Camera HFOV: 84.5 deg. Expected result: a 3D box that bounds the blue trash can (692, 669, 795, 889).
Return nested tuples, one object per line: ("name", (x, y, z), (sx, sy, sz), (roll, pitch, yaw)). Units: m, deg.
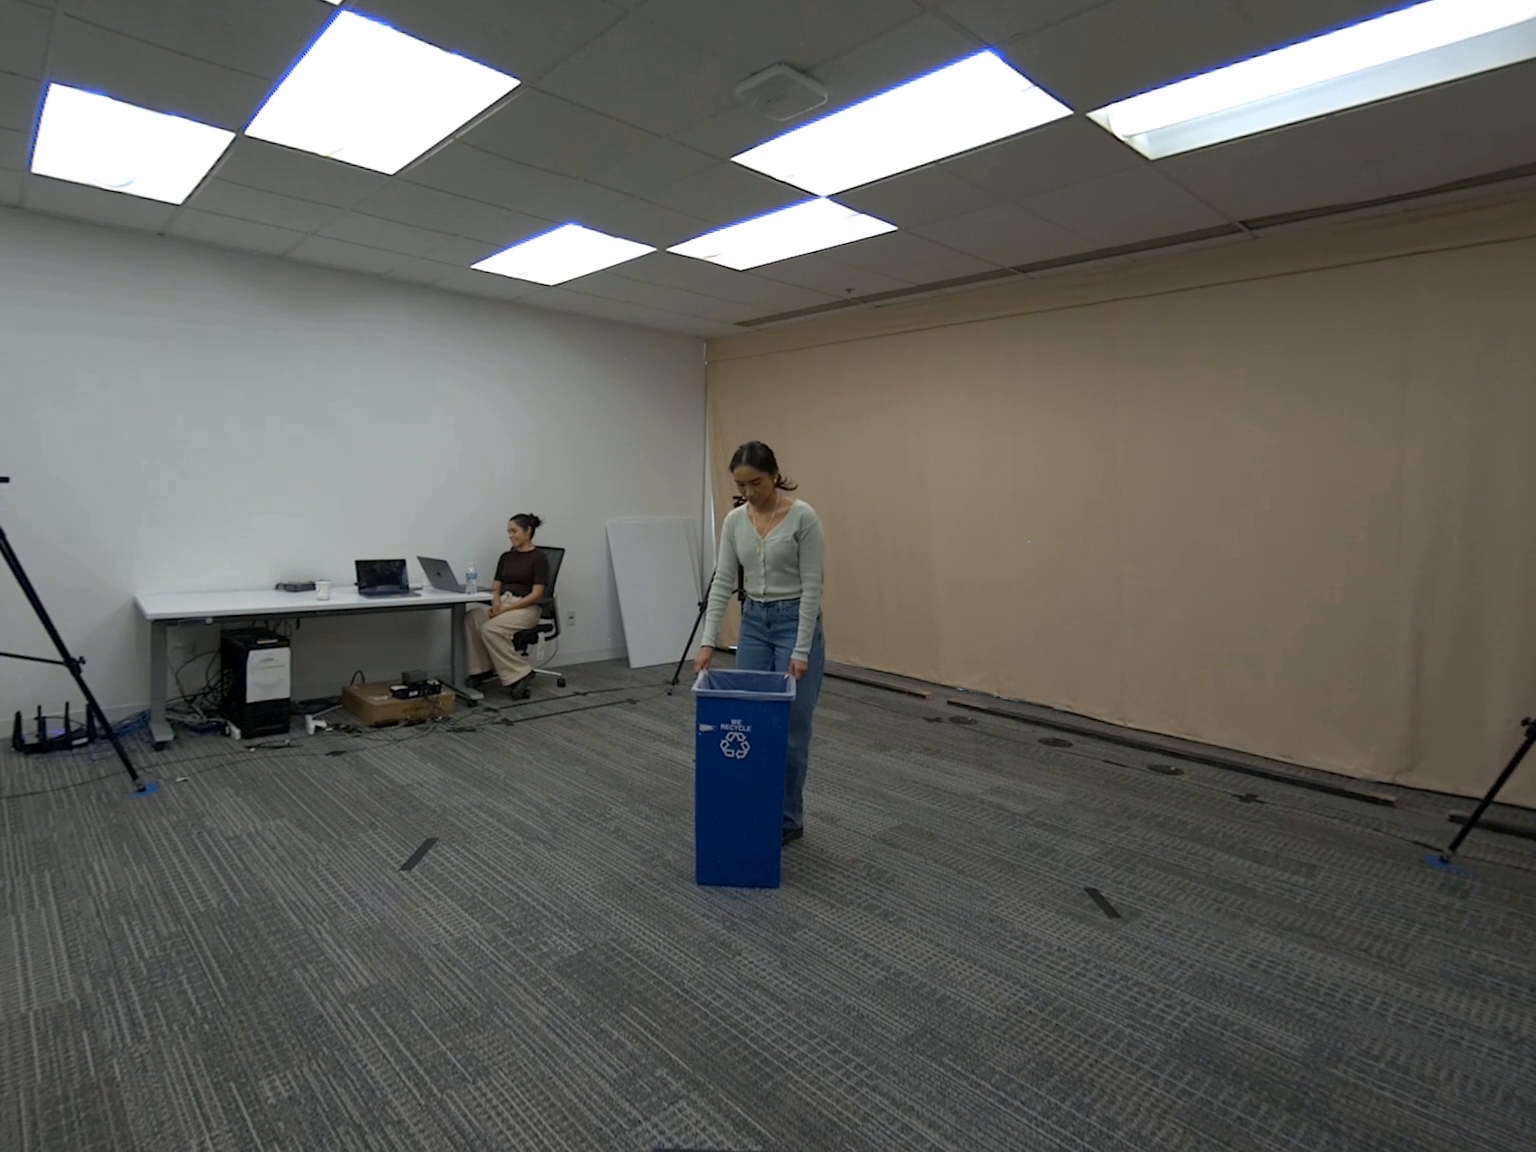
("blue trash can", (-0.100, 0.746, 3.137), (0.375, 0.711, 0.378), (2, 4, 2))
